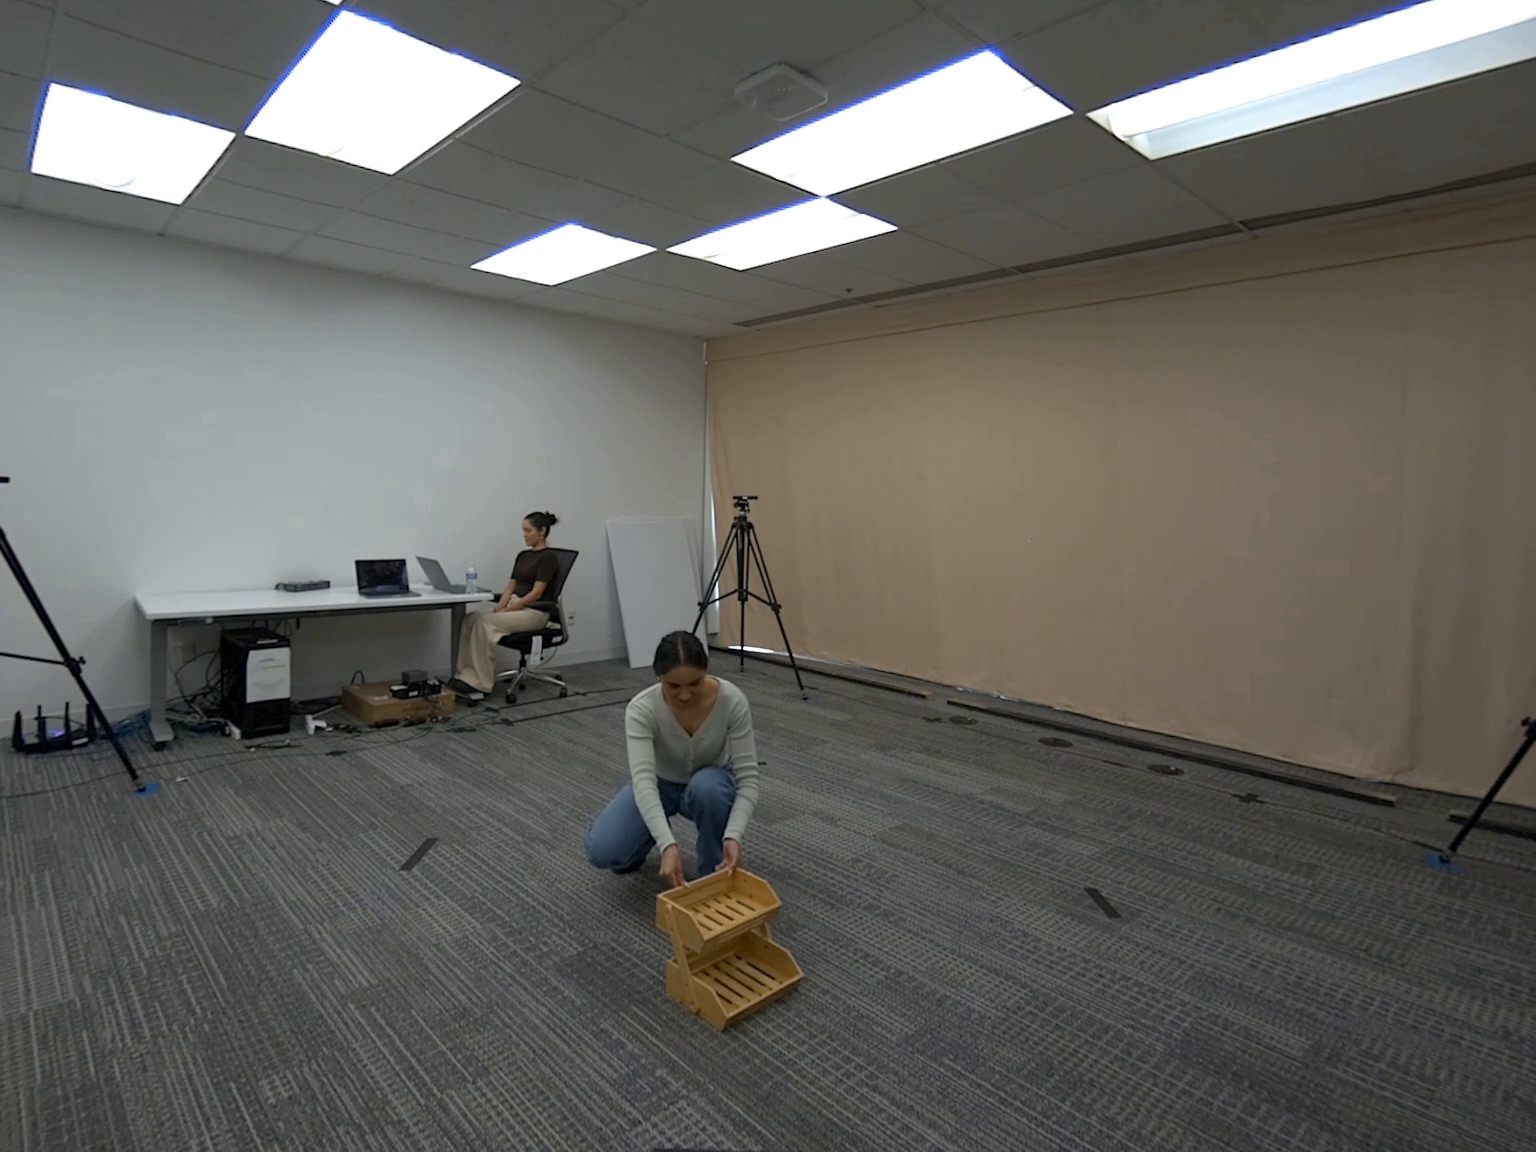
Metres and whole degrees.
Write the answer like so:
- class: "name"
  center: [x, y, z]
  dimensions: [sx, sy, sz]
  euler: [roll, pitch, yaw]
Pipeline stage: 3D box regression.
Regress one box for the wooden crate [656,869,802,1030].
- class: "wooden crate"
  center: [-0.109, 1.042, 2.377]
  dimensions: [0.317, 0.272, 0.310]
  euler: [-3, 6, -45]
